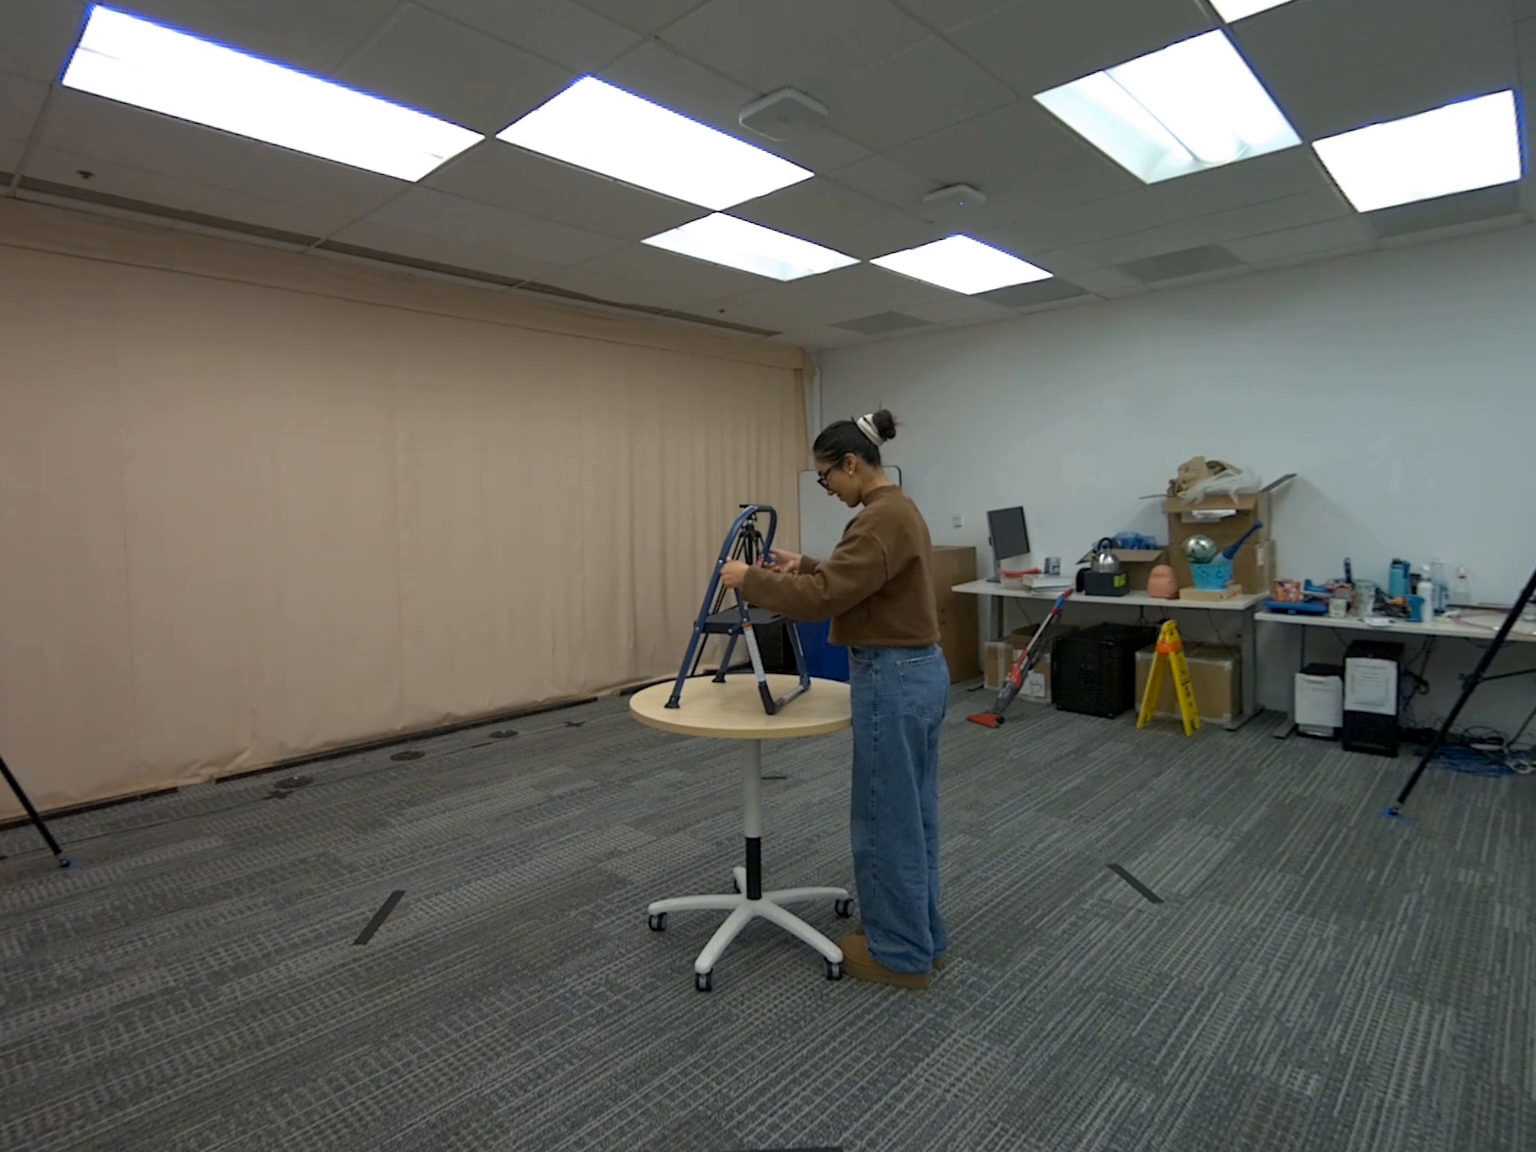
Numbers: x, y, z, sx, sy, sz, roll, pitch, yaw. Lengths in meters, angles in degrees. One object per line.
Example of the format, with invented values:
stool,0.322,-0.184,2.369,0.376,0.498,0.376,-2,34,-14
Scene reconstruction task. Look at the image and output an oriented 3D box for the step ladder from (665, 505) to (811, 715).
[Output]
step ladder,-0.085,0.086,2.658,0.357,0.605,0.422,0,3,20
